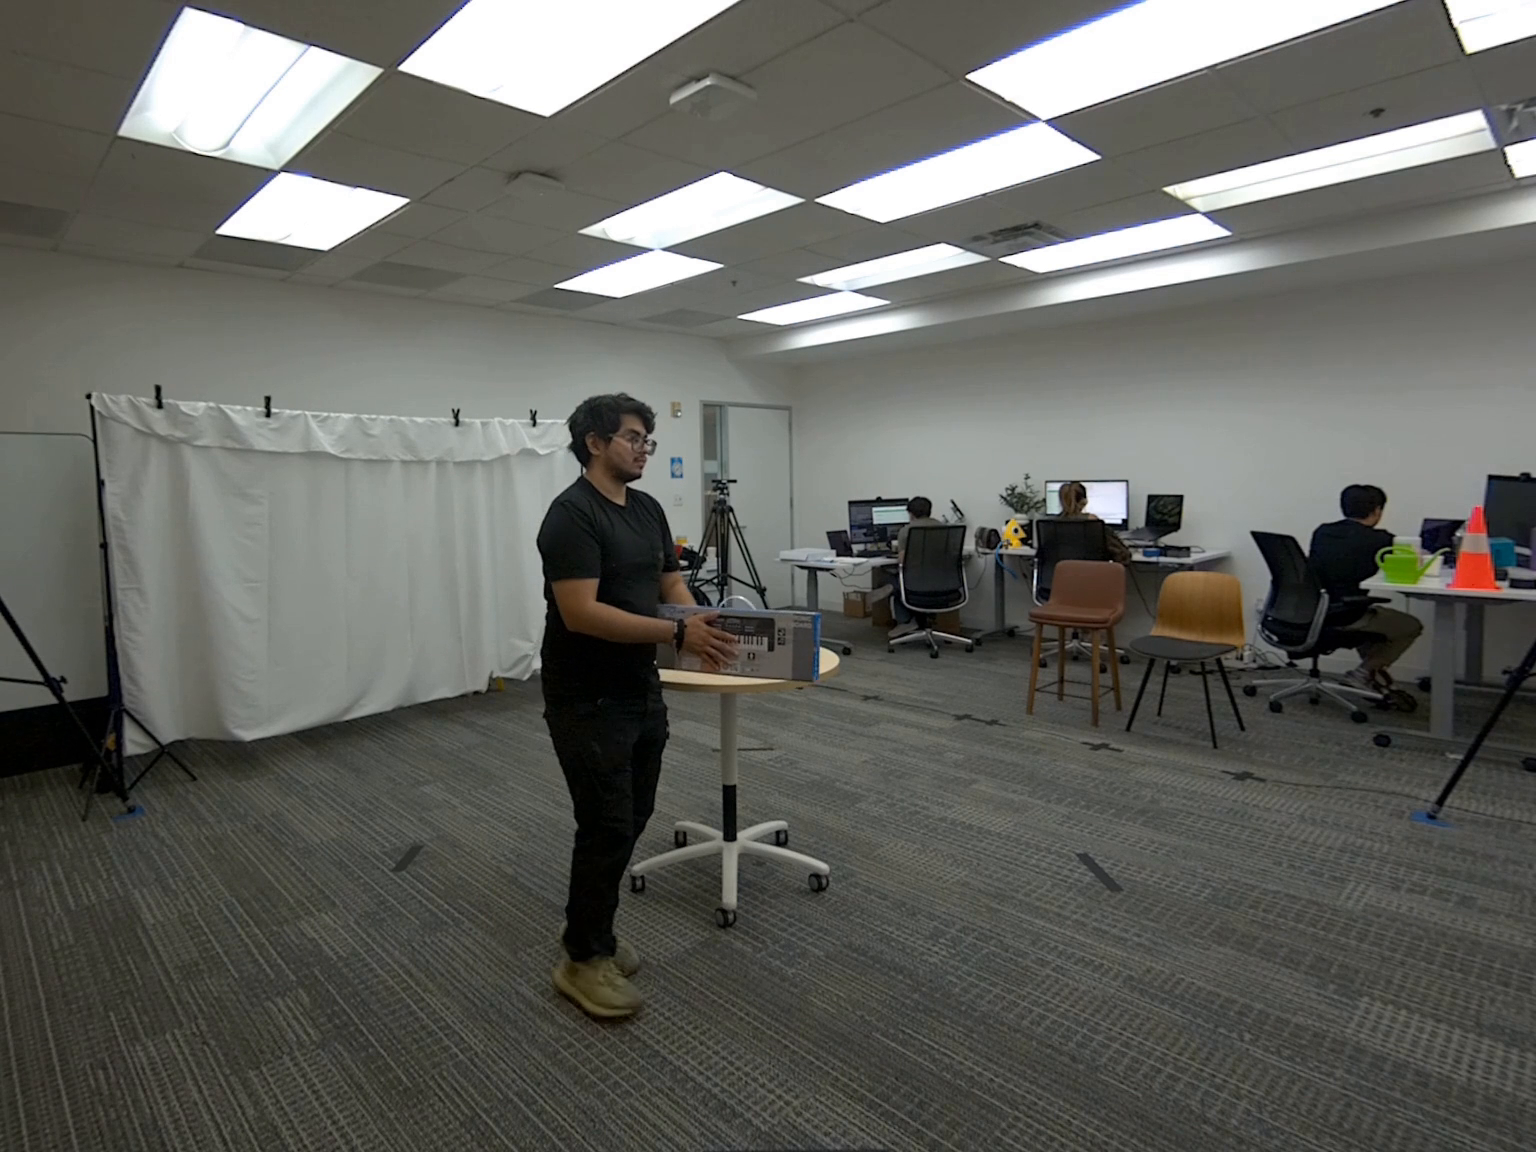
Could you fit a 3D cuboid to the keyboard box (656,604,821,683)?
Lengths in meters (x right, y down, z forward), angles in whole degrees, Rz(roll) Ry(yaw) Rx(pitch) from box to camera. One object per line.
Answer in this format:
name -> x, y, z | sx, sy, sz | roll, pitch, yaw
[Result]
keyboard box -> -0.079, 0.175, 2.233 | 0.445, 0.176, 0.058 | 2, 0, 21
